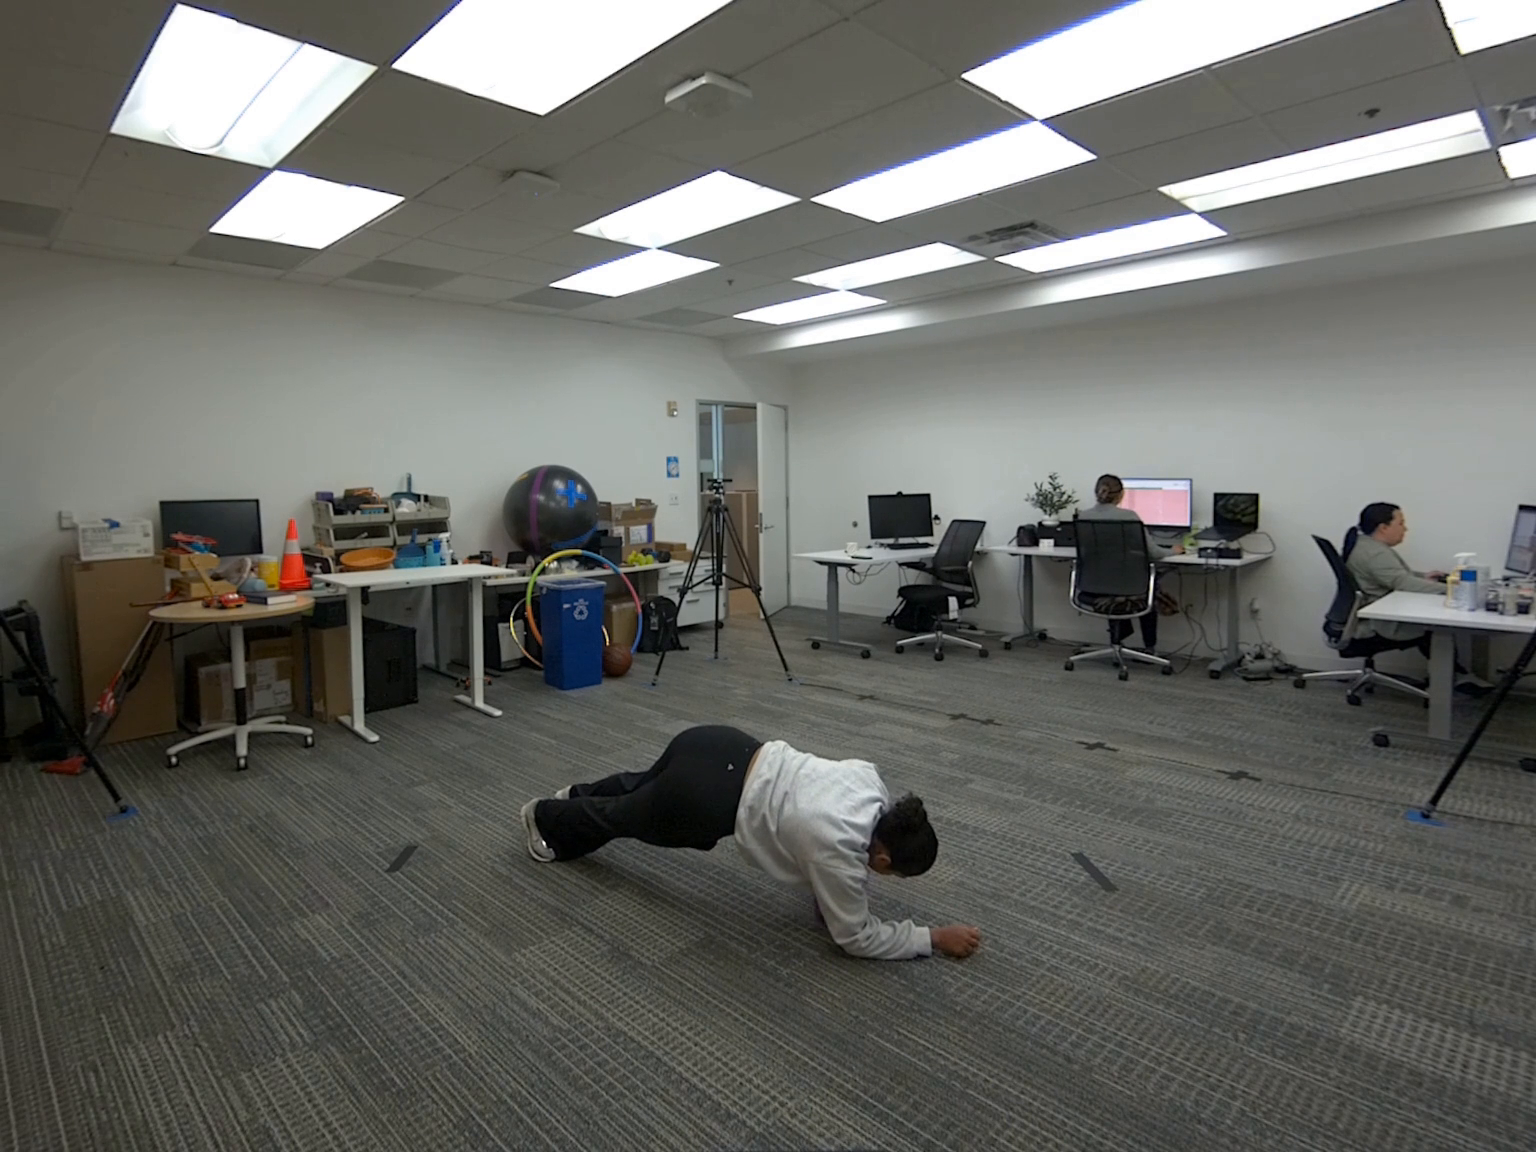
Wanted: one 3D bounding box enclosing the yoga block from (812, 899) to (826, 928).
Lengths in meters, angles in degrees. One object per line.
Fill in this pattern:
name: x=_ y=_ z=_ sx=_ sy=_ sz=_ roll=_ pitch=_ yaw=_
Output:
yoga block: x=0.251 y=1.028 z=2.793 sx=0.151 sy=0.076 sz=0.227 roll=1 pitch=4 yaw=12
